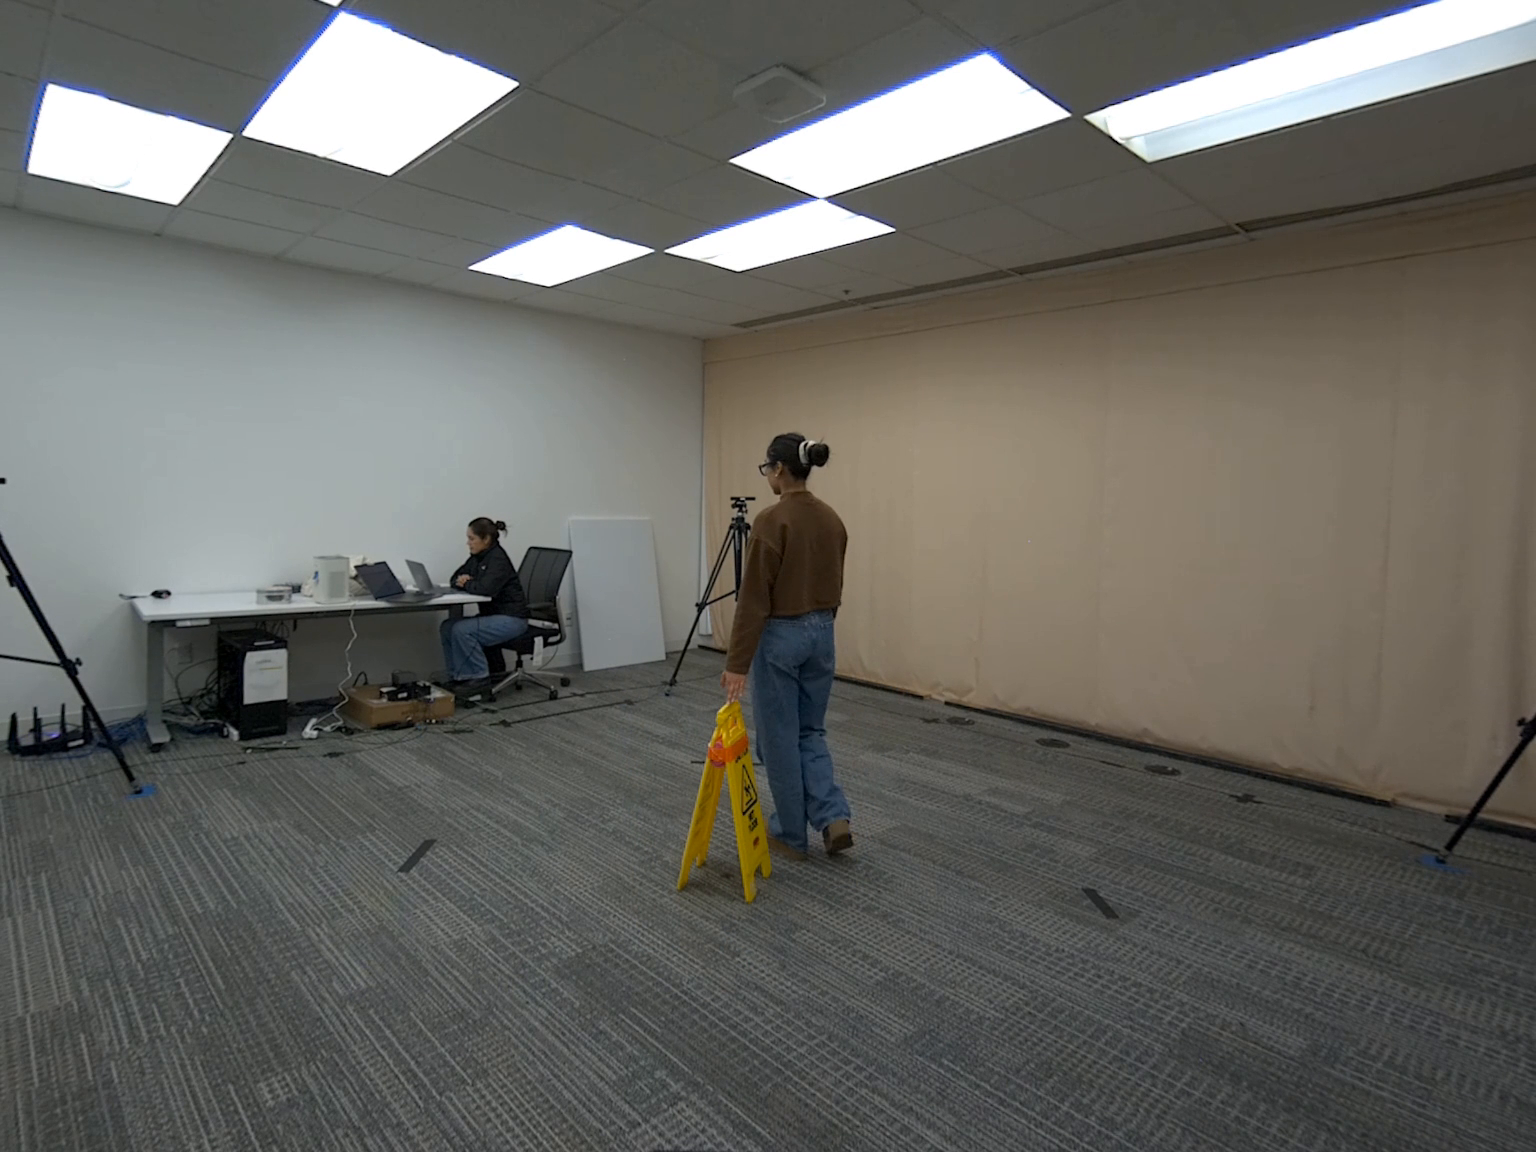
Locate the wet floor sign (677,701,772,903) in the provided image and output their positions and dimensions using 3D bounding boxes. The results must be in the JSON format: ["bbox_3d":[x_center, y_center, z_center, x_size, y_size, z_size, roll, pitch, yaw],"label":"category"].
[{"bbox_3d":[-0.151,0.788,3.043,0.294,0.644,0.279,3,5,17],"label":"wet floor sign"}]
